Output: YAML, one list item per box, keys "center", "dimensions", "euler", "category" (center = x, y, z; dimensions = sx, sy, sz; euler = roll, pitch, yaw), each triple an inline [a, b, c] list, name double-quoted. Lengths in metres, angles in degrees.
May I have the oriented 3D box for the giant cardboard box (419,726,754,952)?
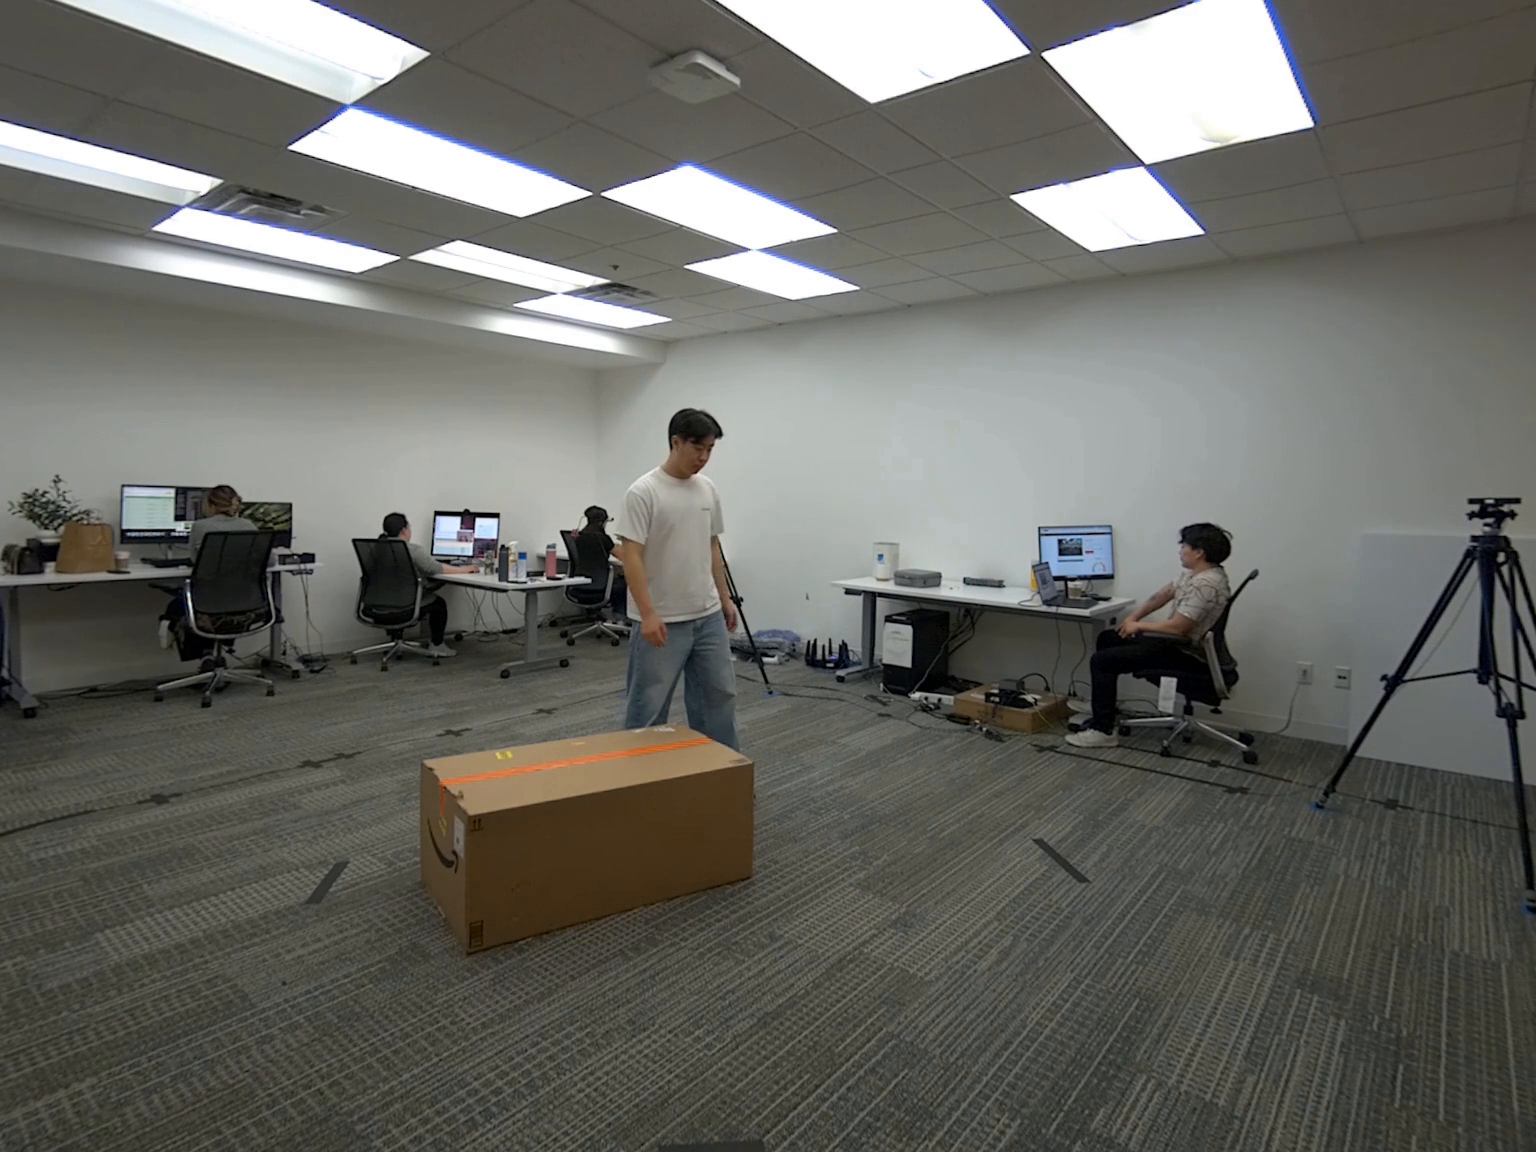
- center: [-0.643, 0.858, 2.994]
  dimensions: [0.997, 0.425, 0.596]
  euler: [-2, 5, -33]
  category: "giant cardboard box"
